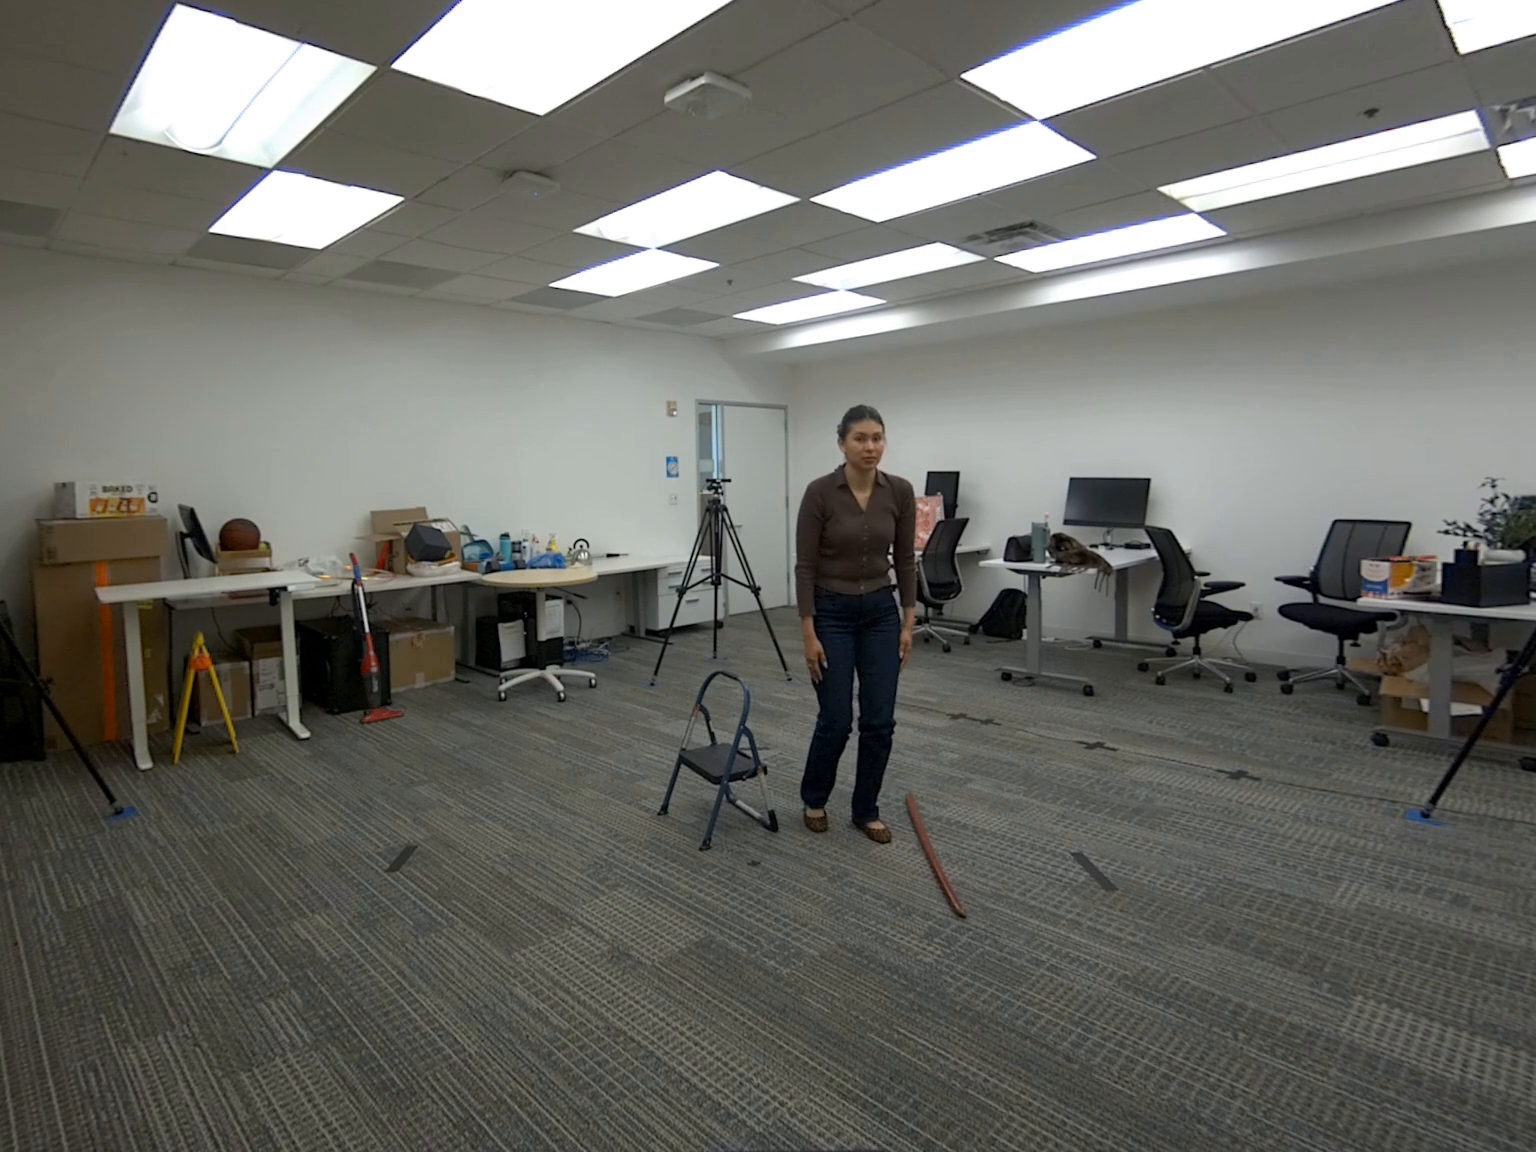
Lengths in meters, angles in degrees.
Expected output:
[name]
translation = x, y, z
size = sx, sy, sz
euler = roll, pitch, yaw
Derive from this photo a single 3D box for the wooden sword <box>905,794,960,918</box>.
[wooden sword]
translation = 0.577, 0.992, 3.199
size = 0.024, 0.051, 1.025
euler = 12, 6, 1
